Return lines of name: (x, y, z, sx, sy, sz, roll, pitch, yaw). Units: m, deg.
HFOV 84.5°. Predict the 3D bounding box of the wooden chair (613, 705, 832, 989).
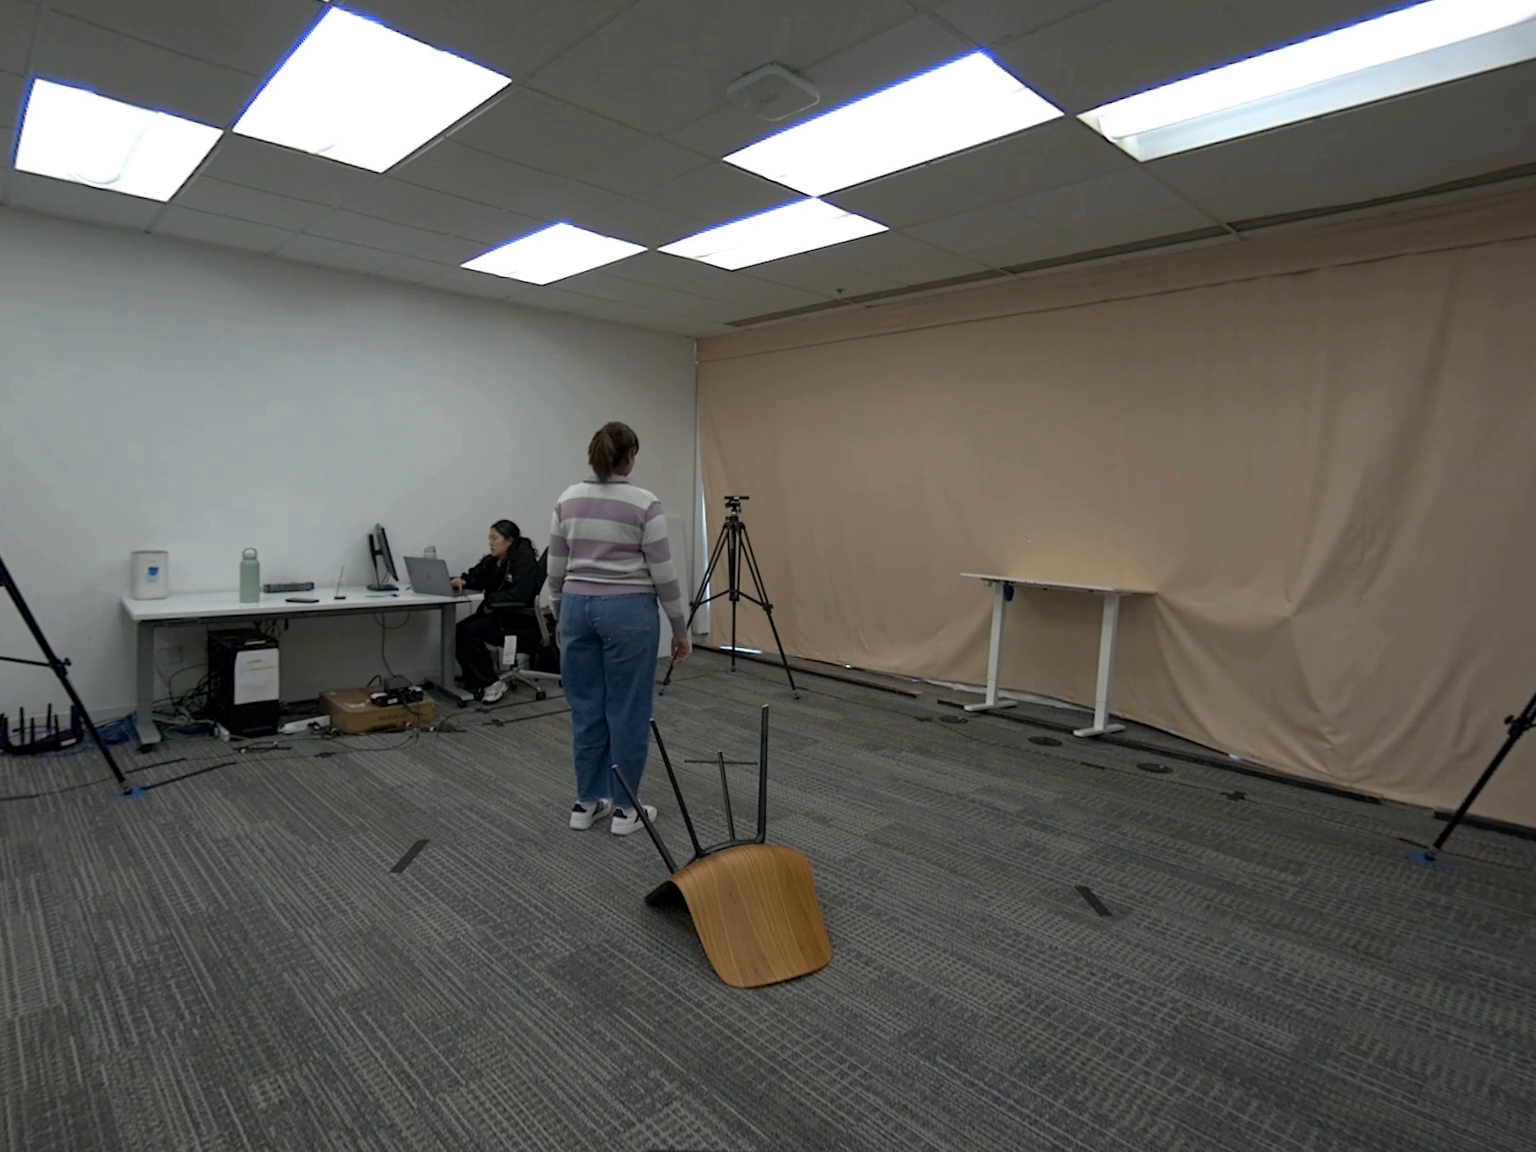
wooden chair: (-0.168, 0.957, 2.843, 0.468, 0.900, 0.520, -1, -36, -30)
